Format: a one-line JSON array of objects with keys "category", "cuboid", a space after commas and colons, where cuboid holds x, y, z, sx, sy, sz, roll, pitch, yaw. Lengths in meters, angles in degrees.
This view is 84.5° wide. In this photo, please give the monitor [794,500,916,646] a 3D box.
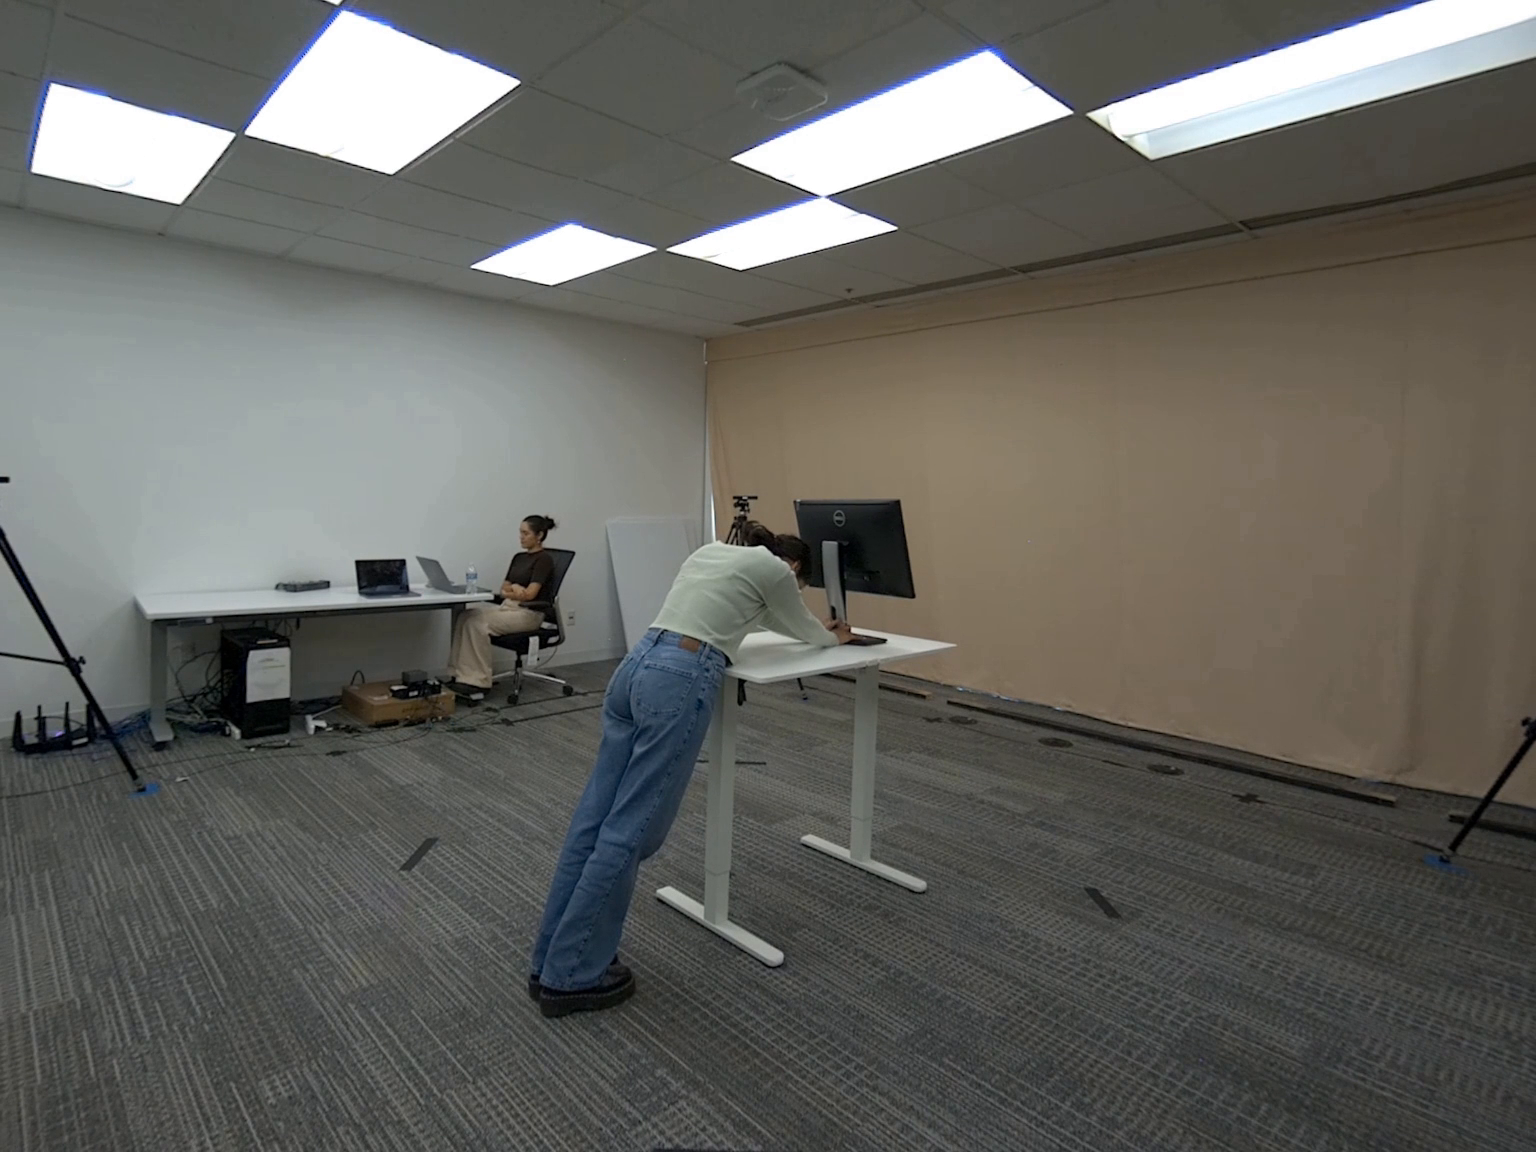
[{"category": "monitor", "cuboid": [0.277, -0.018, 3.070, 0.183, 0.521, 0.552, -4, 5, -40]}]
